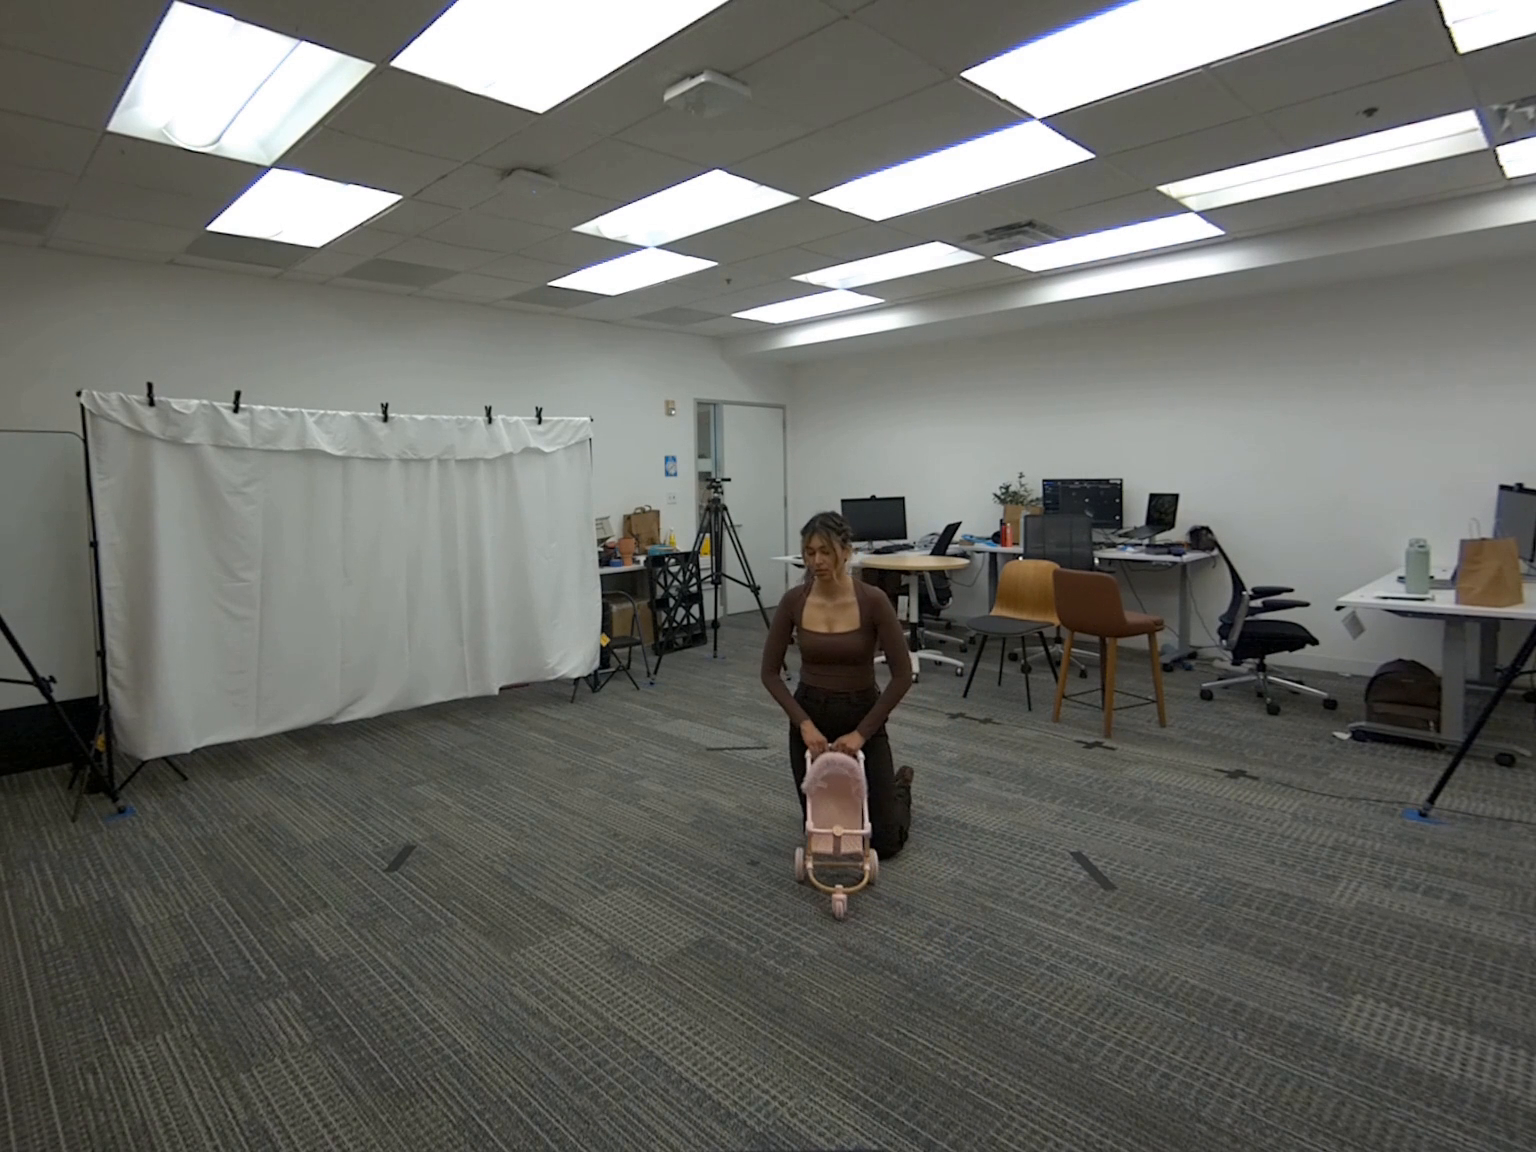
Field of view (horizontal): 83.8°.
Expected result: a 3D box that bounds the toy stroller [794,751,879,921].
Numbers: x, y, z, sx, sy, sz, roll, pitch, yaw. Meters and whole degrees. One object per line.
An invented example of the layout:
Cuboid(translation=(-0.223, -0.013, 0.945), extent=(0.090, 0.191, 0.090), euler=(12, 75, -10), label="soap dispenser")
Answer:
Cuboid(translation=(0.231, 0.844, 2.870), extent=(0.284, 0.540, 0.335), euler=(0, -11, 7), label="toy stroller")
